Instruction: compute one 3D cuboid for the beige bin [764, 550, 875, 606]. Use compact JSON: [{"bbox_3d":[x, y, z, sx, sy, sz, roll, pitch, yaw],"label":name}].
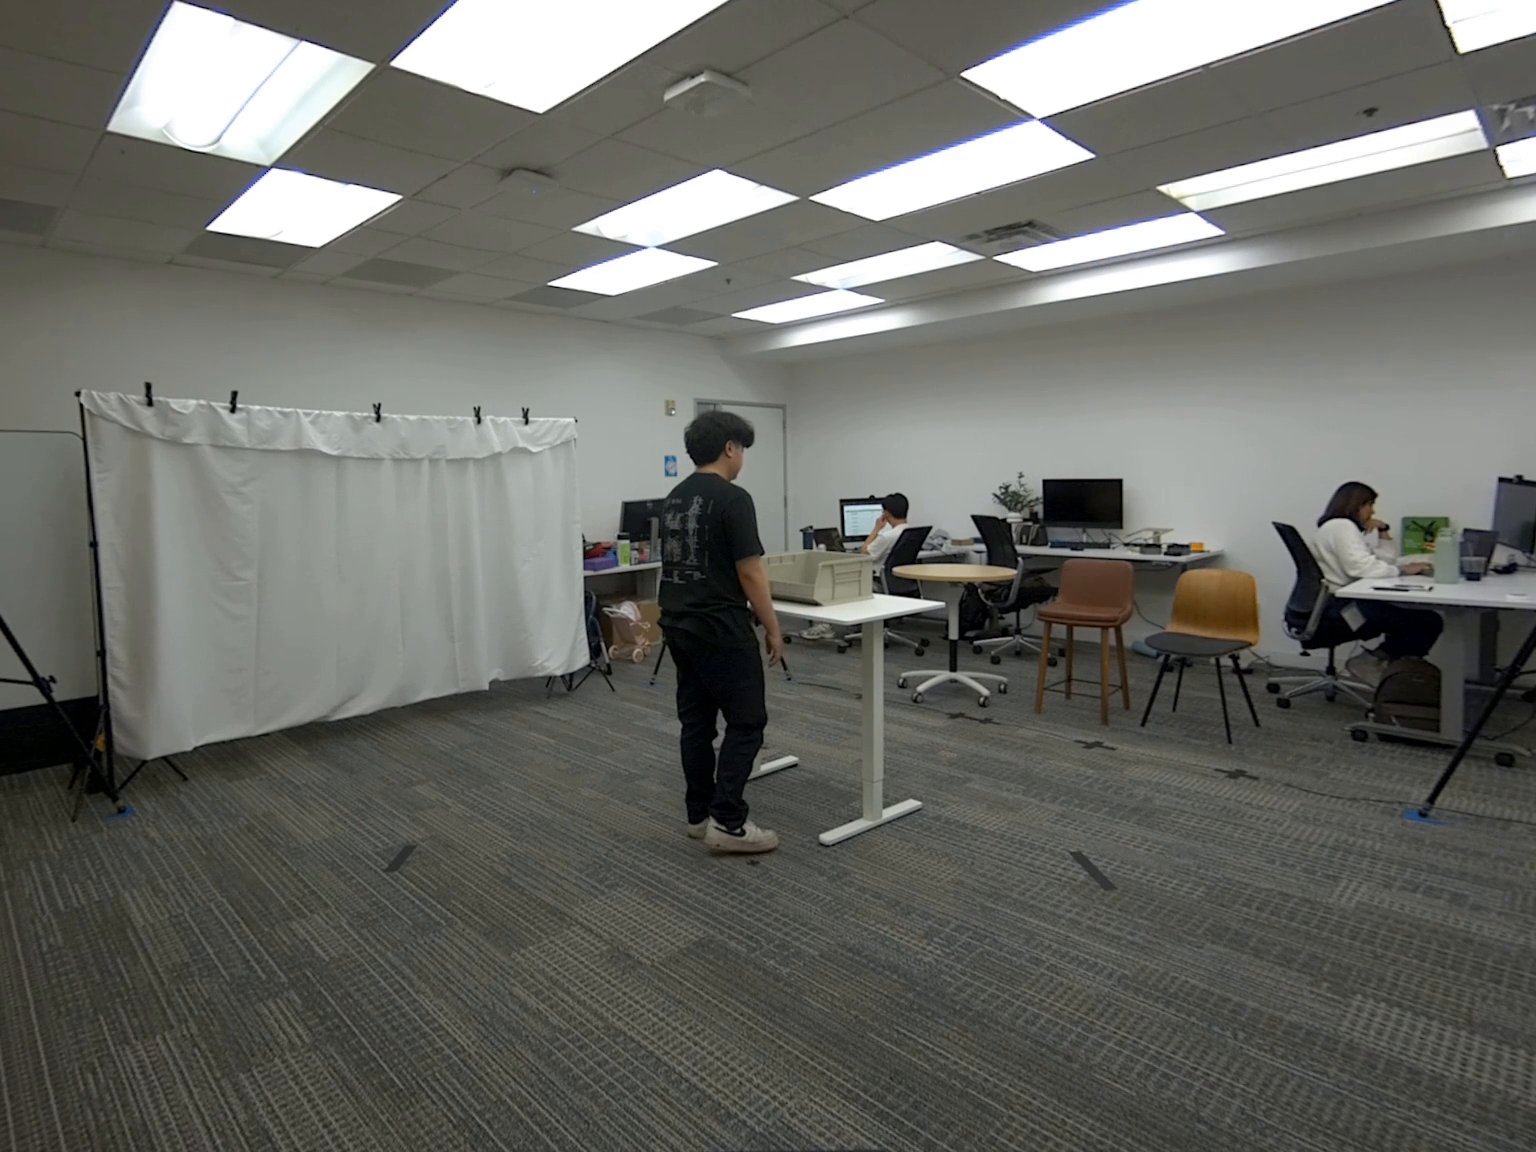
[{"bbox_3d":[0.187,0.007,3.648,0.367,0.188,0.435,-6,7,-40],"label":"beige bin"}]
